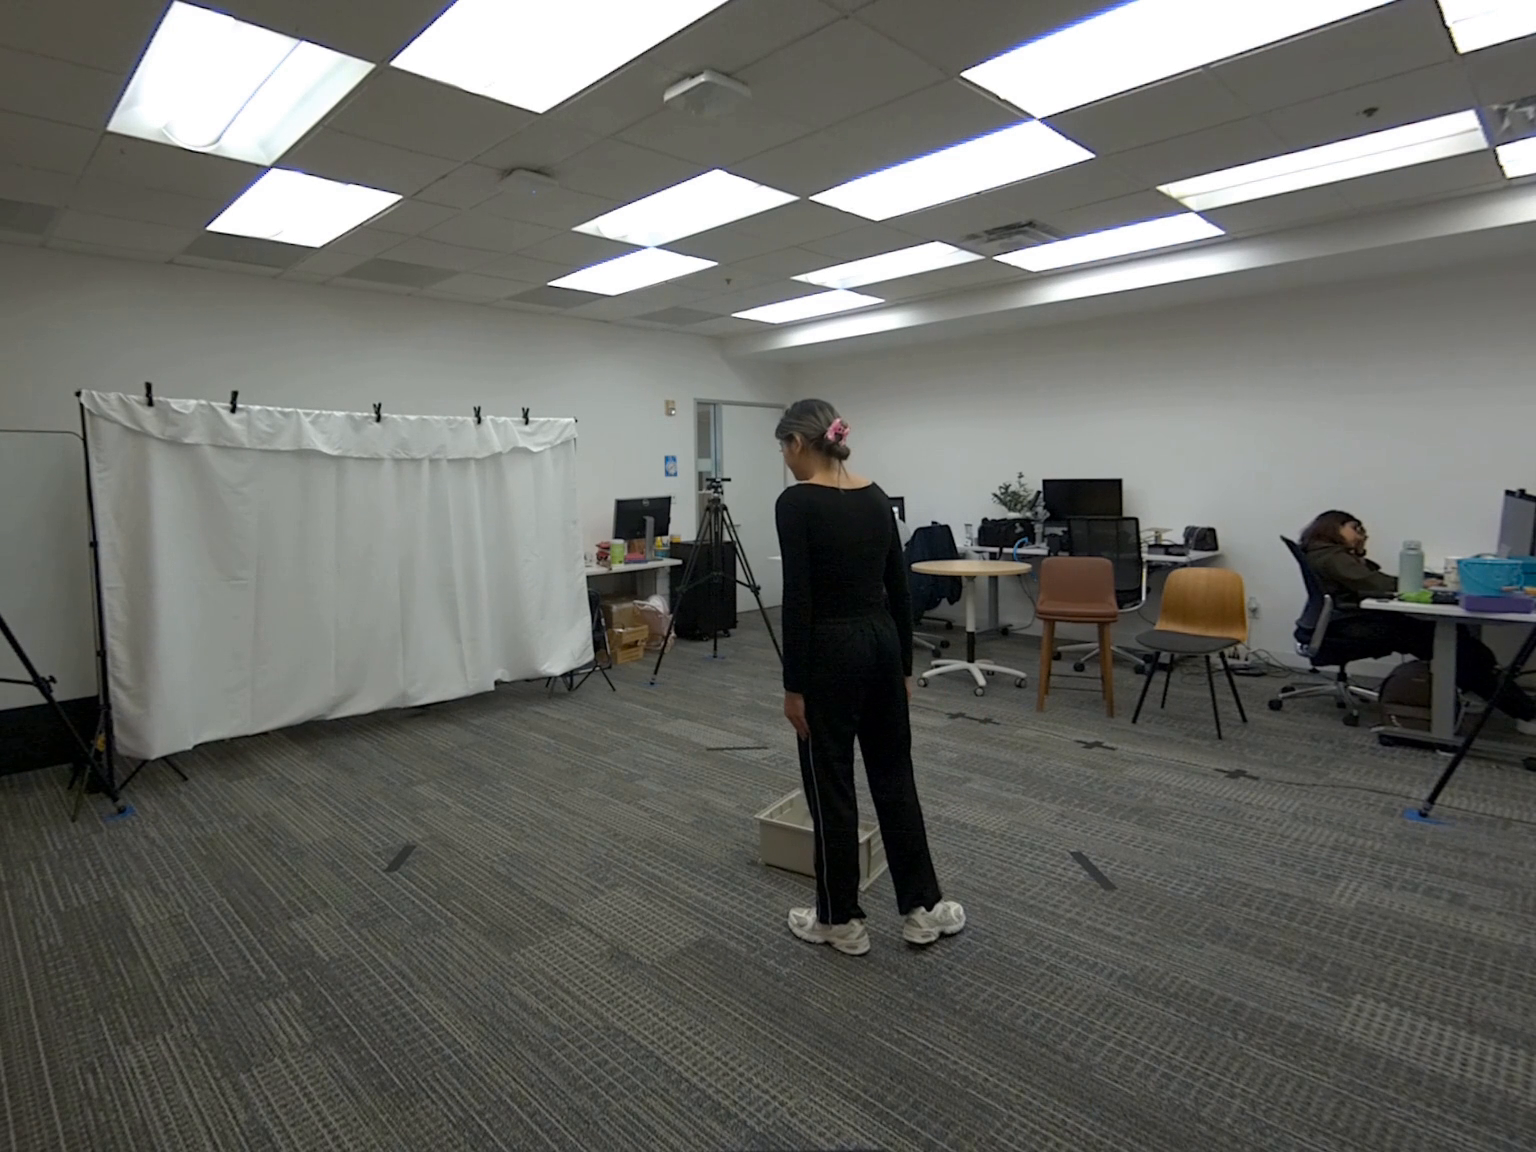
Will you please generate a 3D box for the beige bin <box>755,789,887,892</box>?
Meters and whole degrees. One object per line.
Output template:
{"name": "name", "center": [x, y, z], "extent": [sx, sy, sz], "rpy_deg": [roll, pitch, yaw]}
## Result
{"name": "beige bin", "center": [0.228, 0.947, 3.119], "extent": [0.434, 0.188, 0.369], "rpy_deg": [3, 8, 33]}
